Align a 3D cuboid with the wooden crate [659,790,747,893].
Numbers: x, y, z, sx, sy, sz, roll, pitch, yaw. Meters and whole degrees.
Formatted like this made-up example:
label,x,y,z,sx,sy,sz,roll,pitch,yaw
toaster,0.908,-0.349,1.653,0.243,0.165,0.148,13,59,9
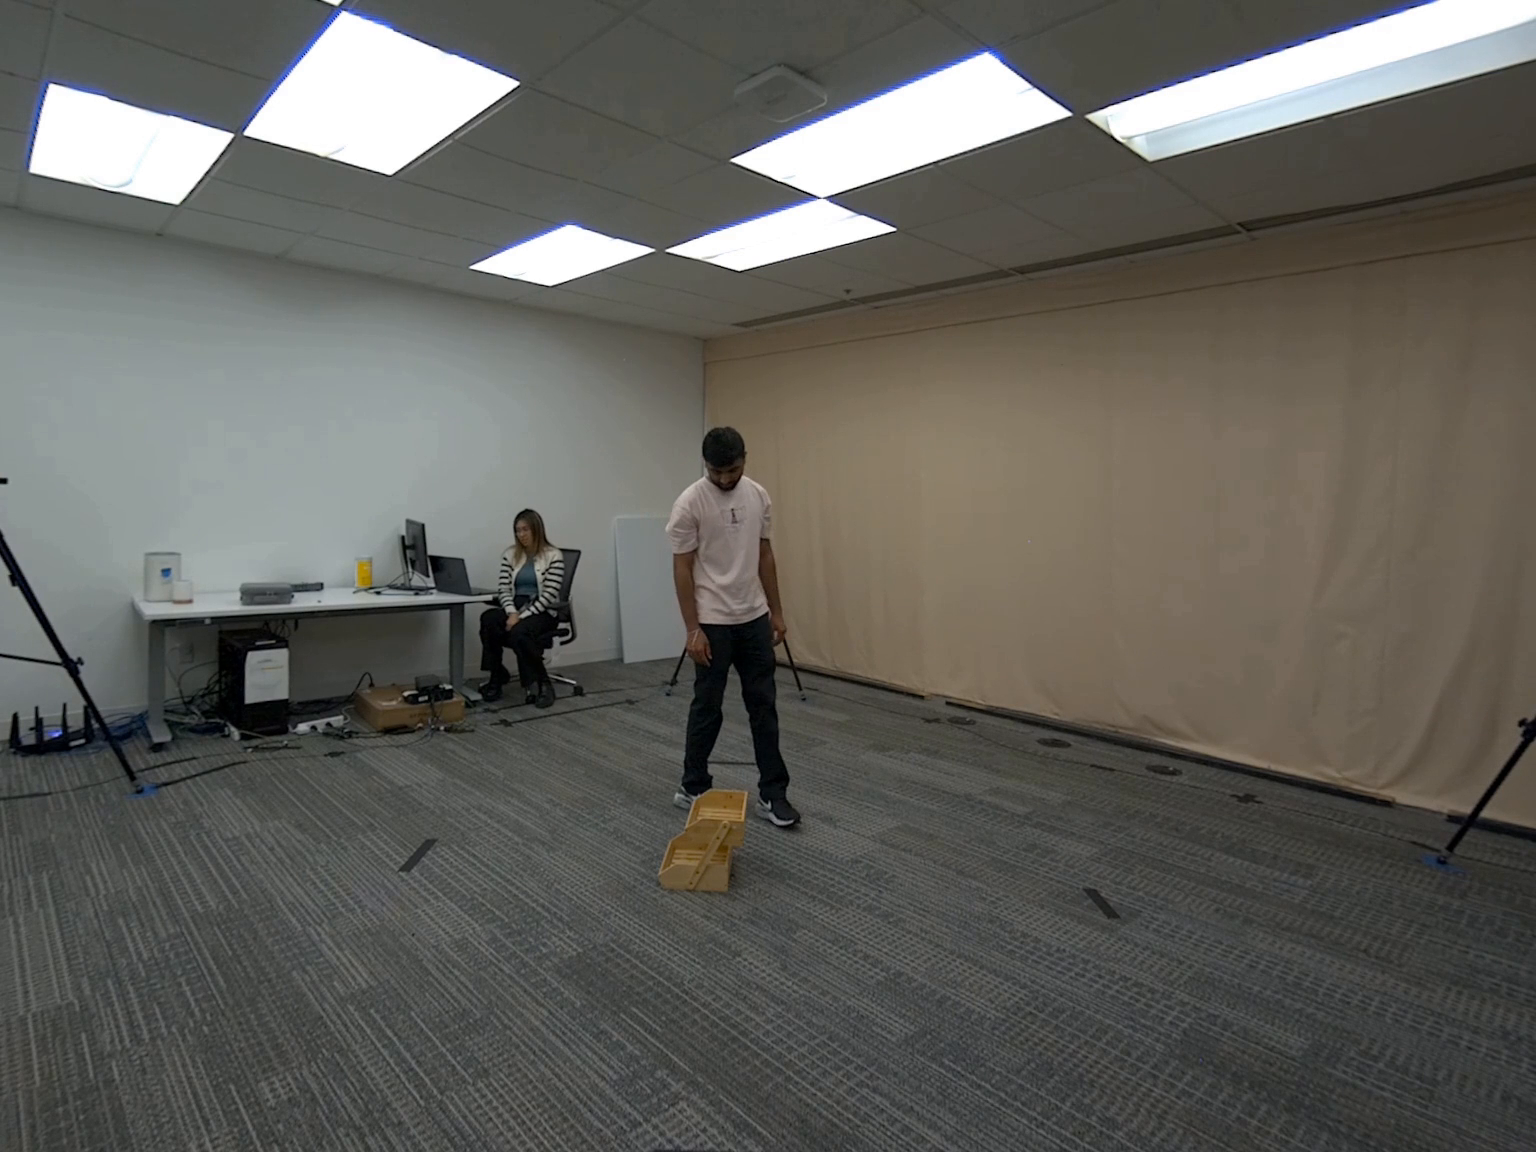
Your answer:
label,x,y,z,sx,sy,sz,roll,pitch,yaw
wooden crate,-0.253,0.976,3.115,0.303,0.272,0.325,1,5,2
